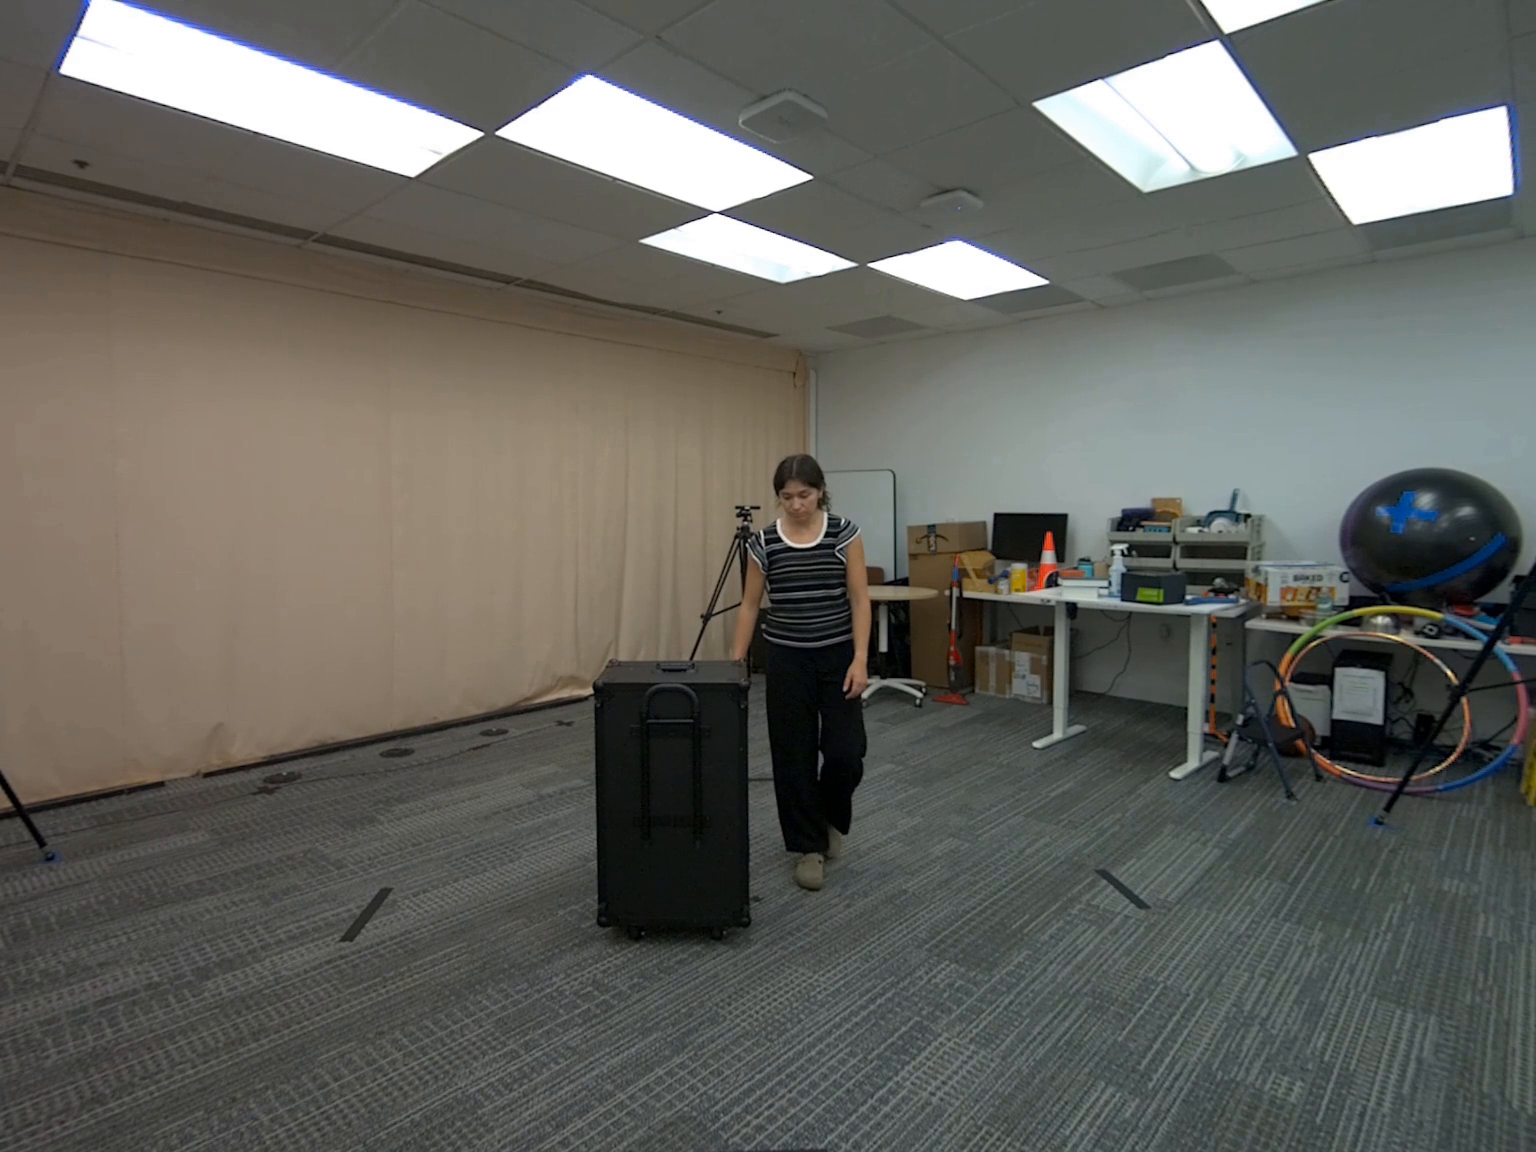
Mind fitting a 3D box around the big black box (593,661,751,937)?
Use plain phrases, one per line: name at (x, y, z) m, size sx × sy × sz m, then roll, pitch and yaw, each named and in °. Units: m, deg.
big black box at (-0.303, 0.741, 2.786) m, size 0.522 × 0.859 × 0.397 m, roll 0°, pitch 4°, yaw 0°
